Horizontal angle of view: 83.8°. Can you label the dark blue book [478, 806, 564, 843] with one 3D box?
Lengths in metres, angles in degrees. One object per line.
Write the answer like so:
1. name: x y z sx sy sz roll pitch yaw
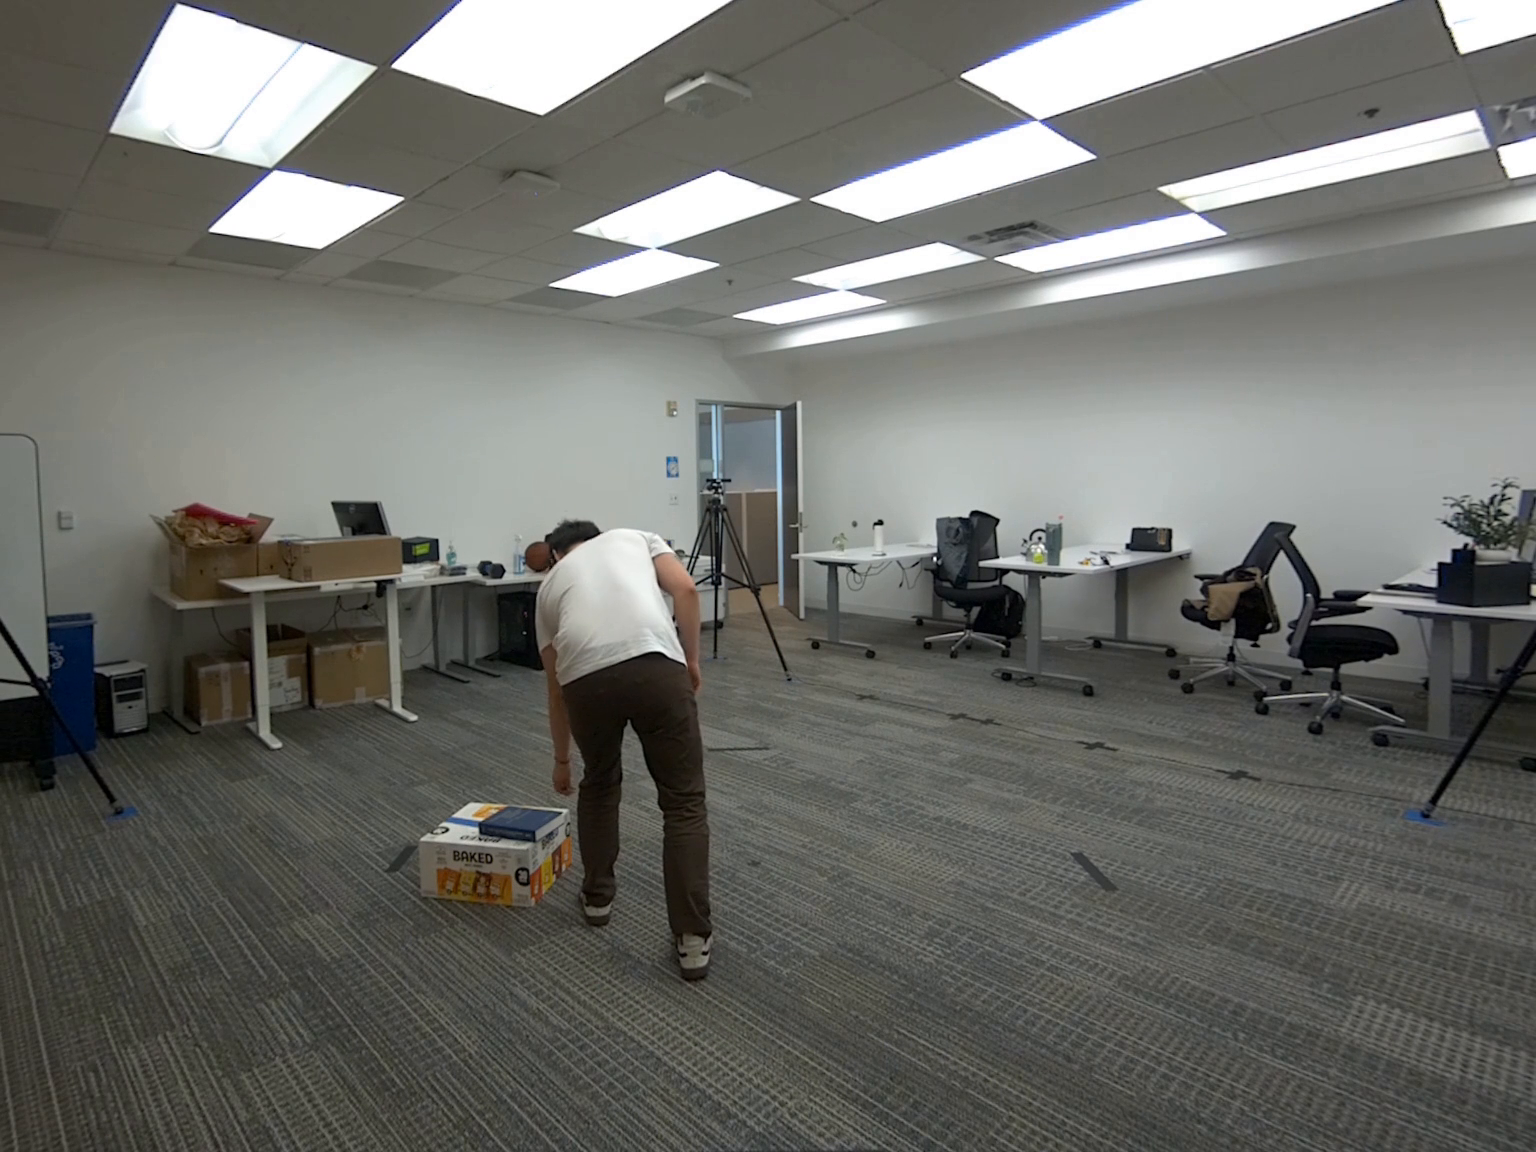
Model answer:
1. dark blue book: -0.855 0.858 2.965 0.250 0.045 0.161 -1 7 24
